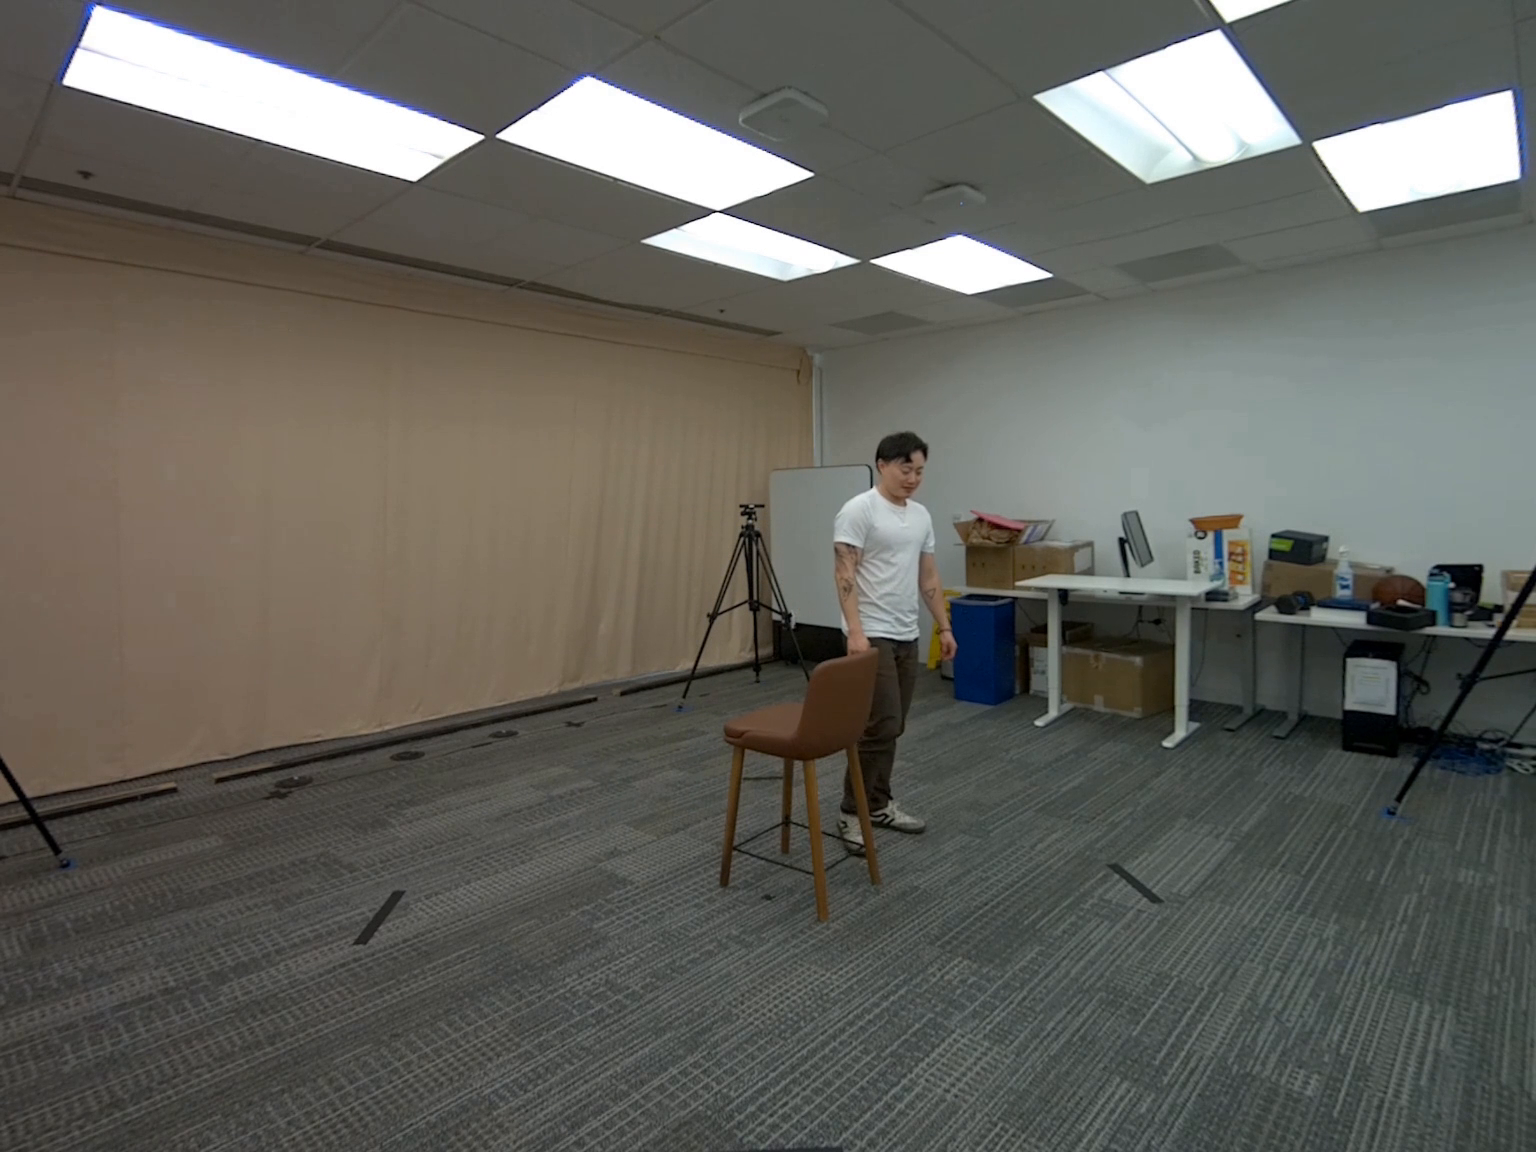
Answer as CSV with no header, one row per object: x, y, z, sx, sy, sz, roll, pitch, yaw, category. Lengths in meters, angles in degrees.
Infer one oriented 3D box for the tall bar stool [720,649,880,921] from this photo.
0.120,0.694,3.053,0.483,0.887,0.443,4,6,38,tall bar stool
